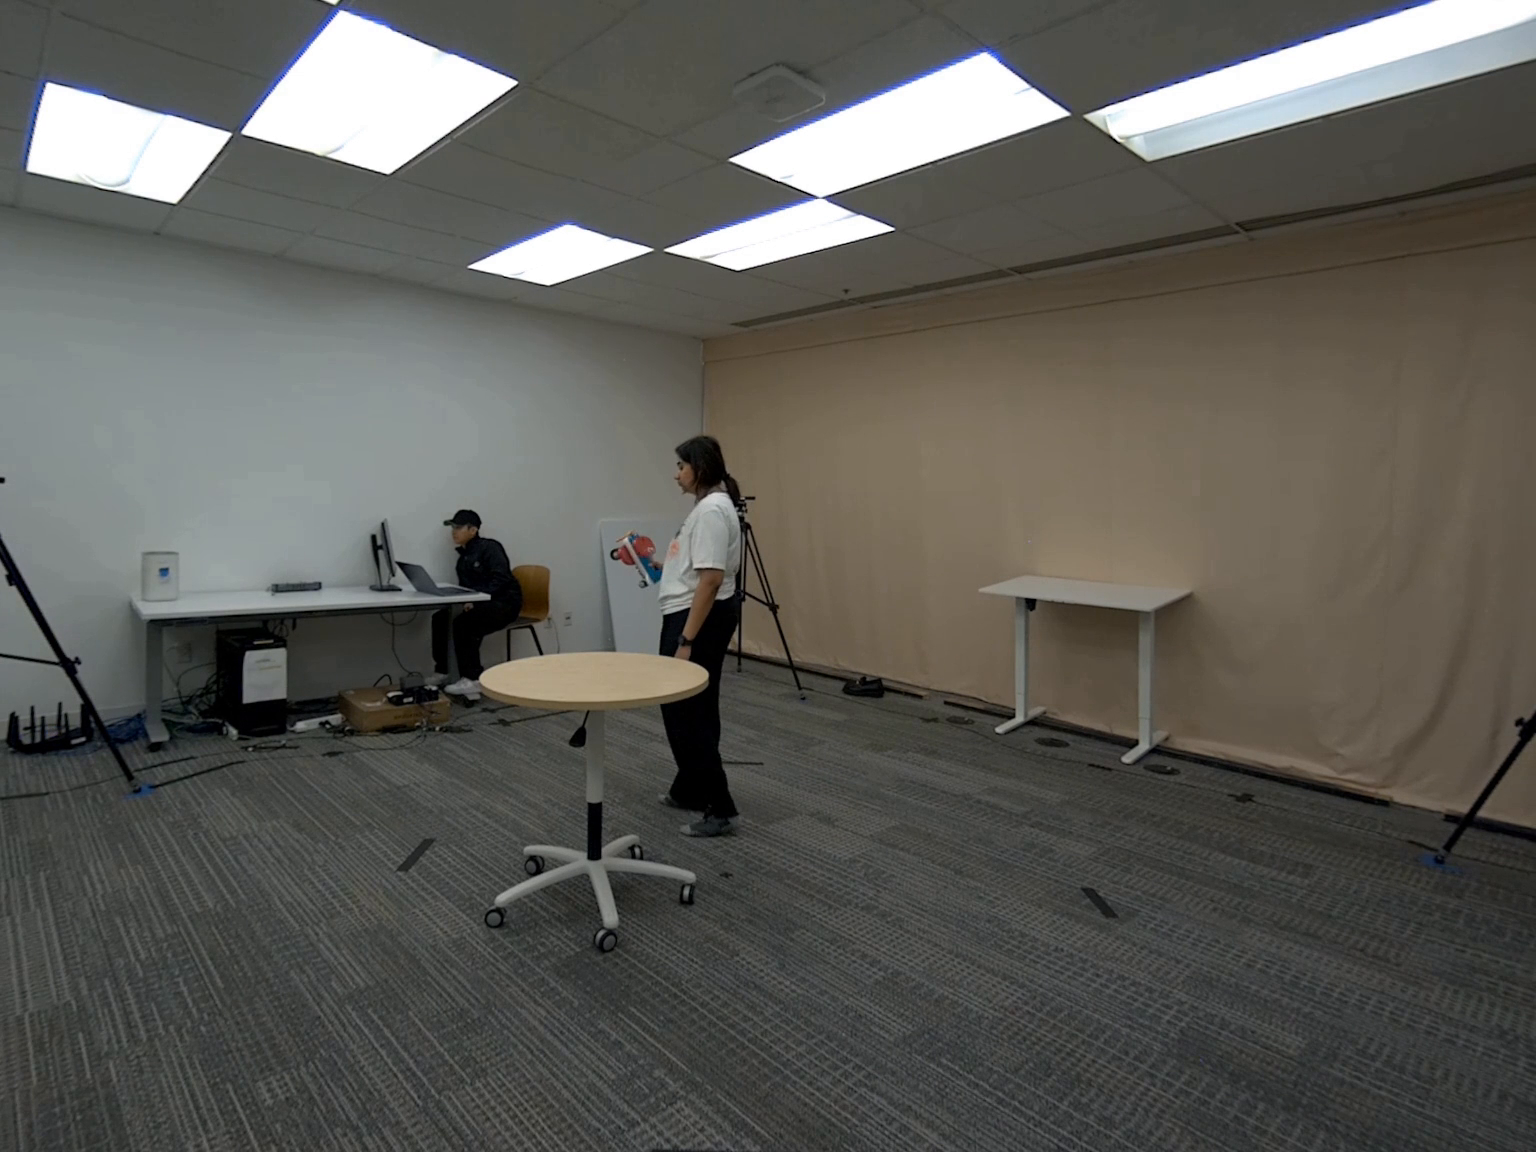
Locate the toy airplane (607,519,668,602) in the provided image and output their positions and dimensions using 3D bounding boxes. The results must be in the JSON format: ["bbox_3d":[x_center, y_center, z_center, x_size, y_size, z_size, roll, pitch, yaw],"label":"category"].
[{"bbox_3d":[-0.569,-0.073,3.795,0.253,0.156,0.257,42,10,-24],"label":"toy airplane"}]
